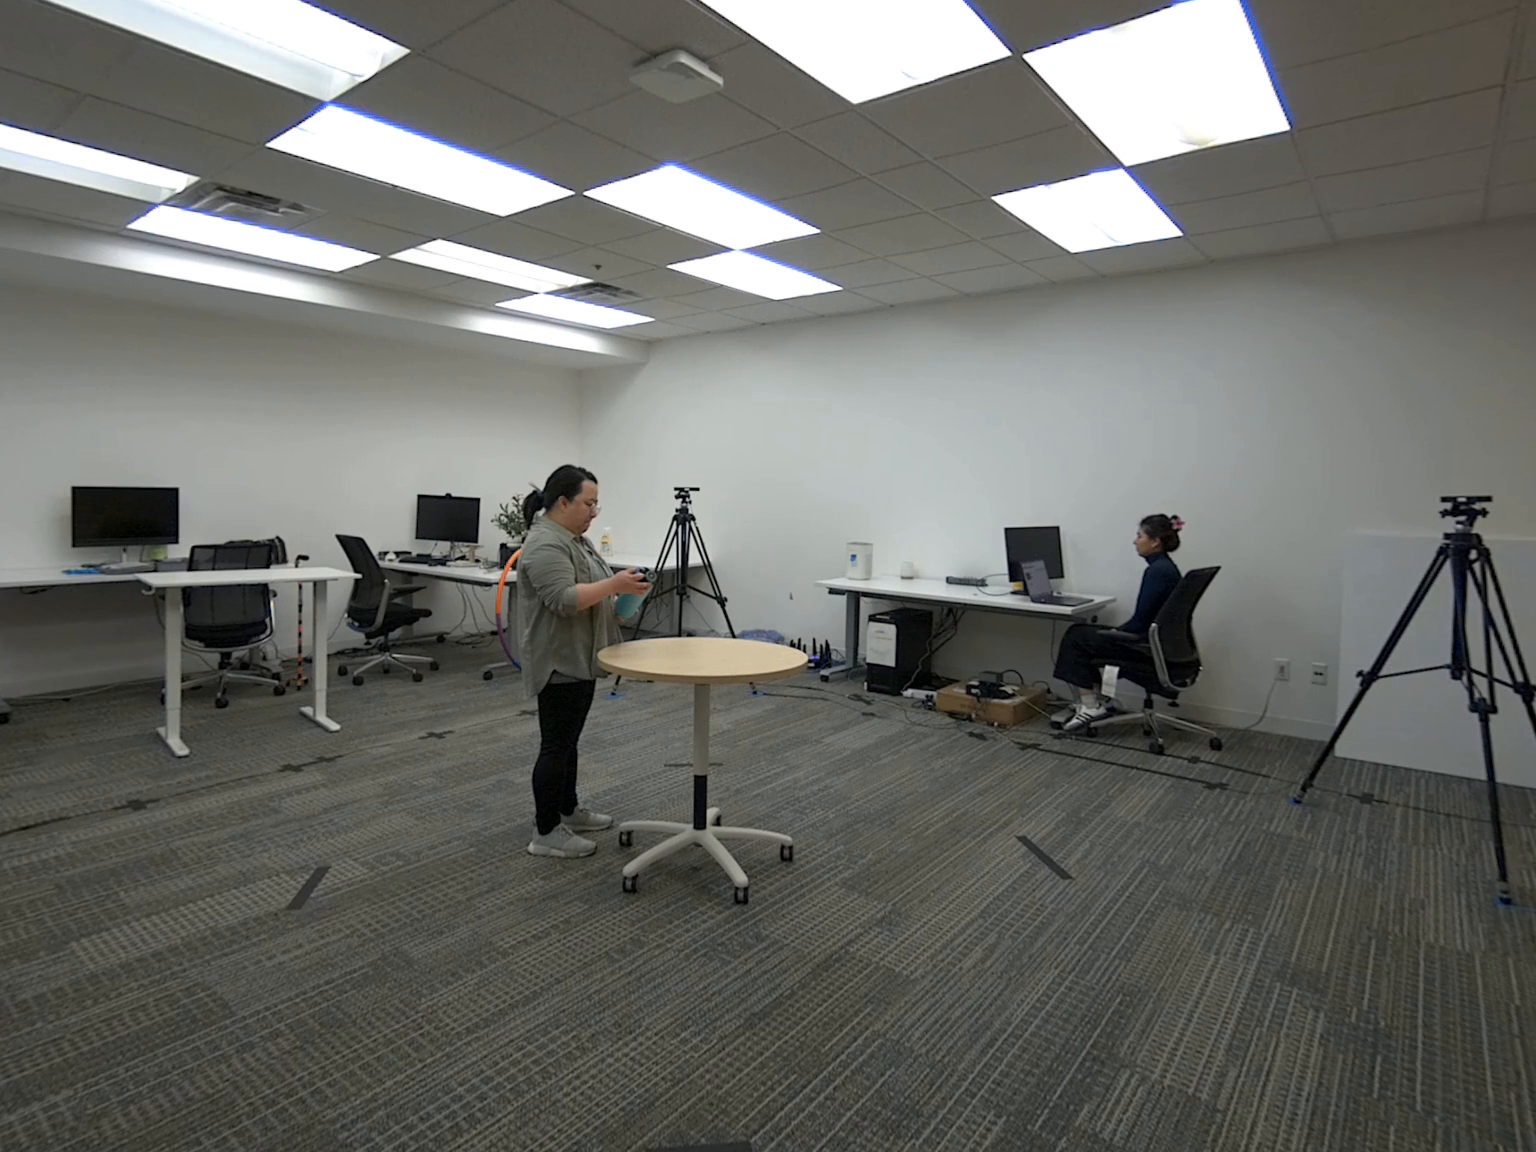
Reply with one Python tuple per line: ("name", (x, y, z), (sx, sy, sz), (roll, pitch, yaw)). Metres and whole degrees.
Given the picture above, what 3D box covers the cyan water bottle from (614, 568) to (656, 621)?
("cyan water bottle", (-0.540, 0.063, 3.286), (0.090, 0.095, 0.282), (-1, -34, -31))
